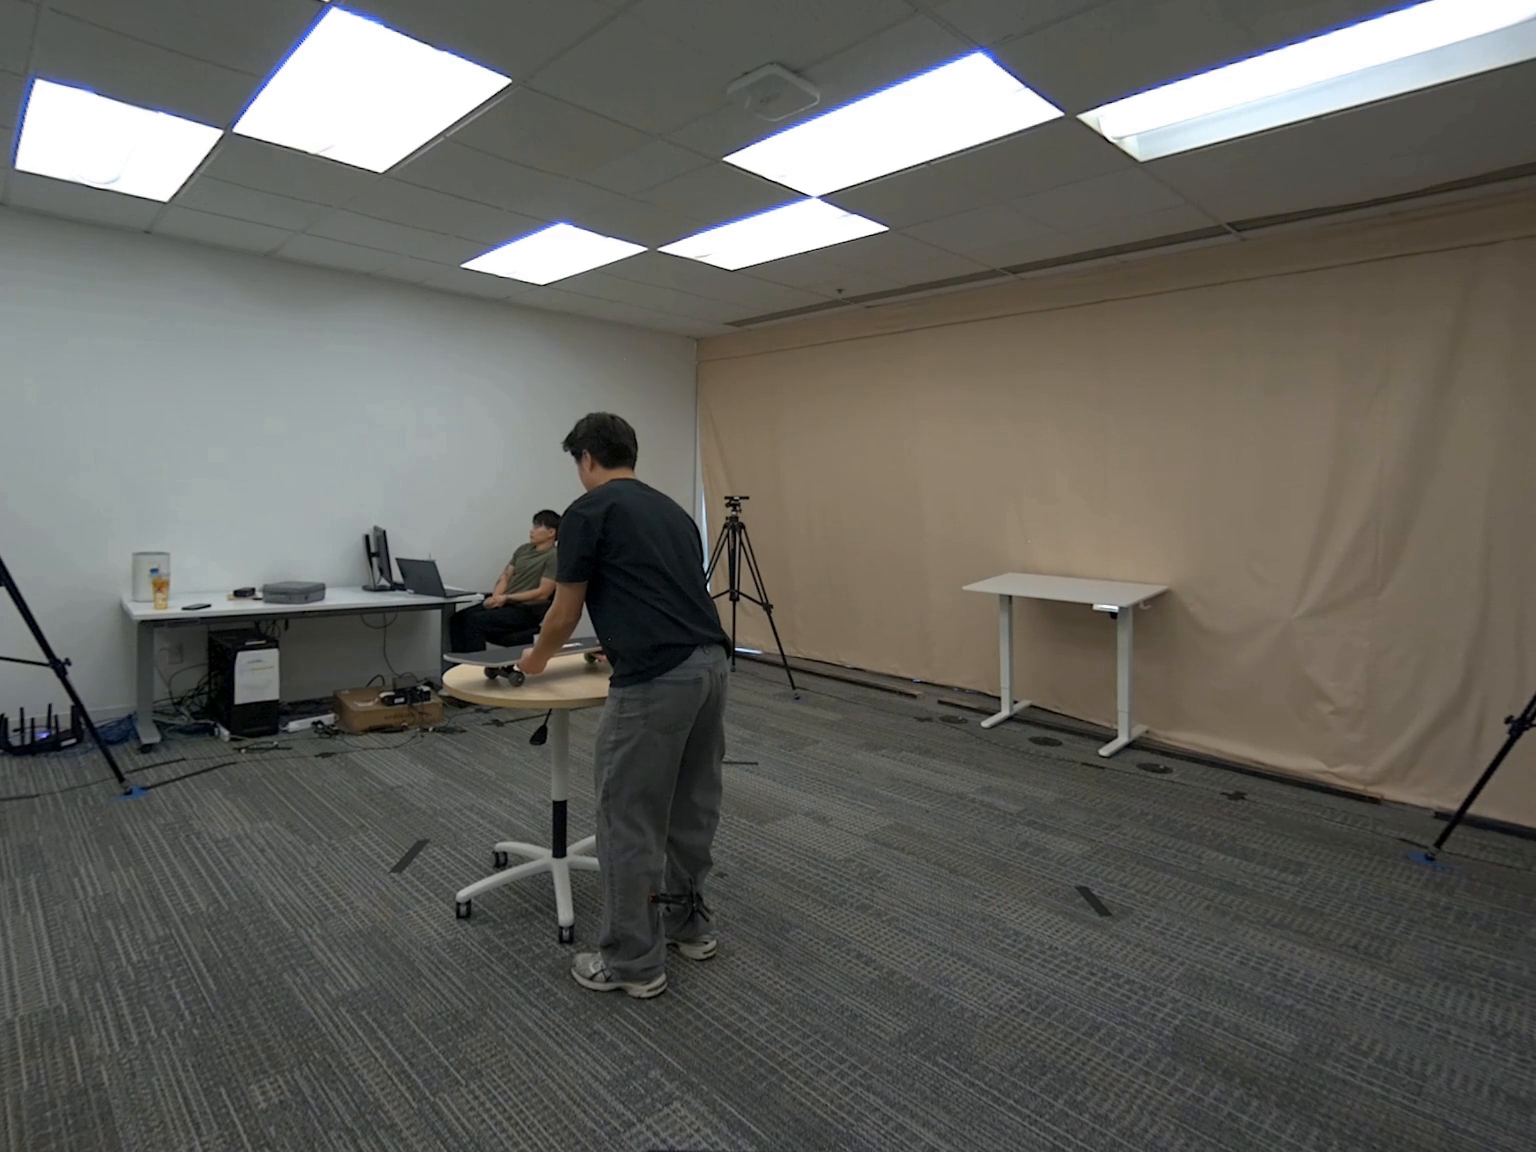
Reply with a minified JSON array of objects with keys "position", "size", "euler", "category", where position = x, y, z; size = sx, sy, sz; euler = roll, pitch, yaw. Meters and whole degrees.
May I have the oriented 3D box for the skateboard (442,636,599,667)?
[{"position":[-0.723,0.281,2.849],"size":[0.198,0.110,0.768],"euler":[5,7,44],"category":"skateboard"}]
